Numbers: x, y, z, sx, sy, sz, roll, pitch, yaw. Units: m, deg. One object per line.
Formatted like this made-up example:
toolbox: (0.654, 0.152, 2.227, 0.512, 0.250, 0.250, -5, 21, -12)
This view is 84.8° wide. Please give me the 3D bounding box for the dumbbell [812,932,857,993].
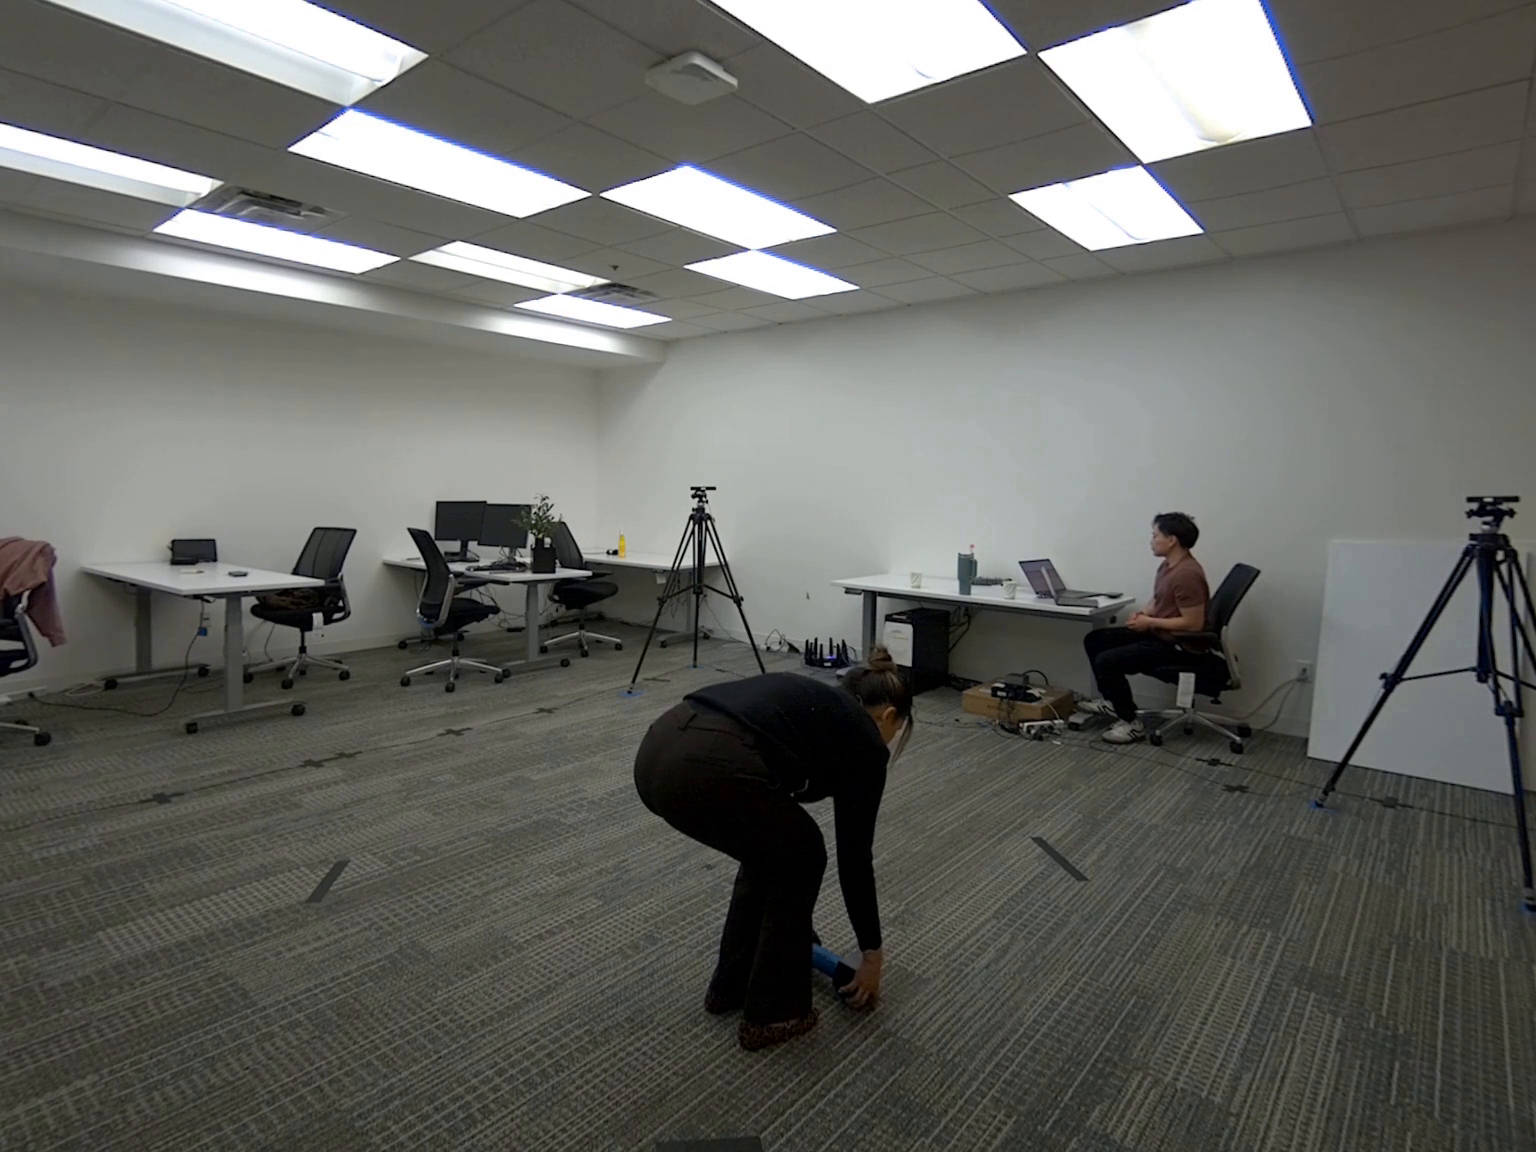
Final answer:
dumbbell: (0.159, 1.082, 2.392, 0.304, 0.119, 0.108, 7, 41, 48)
